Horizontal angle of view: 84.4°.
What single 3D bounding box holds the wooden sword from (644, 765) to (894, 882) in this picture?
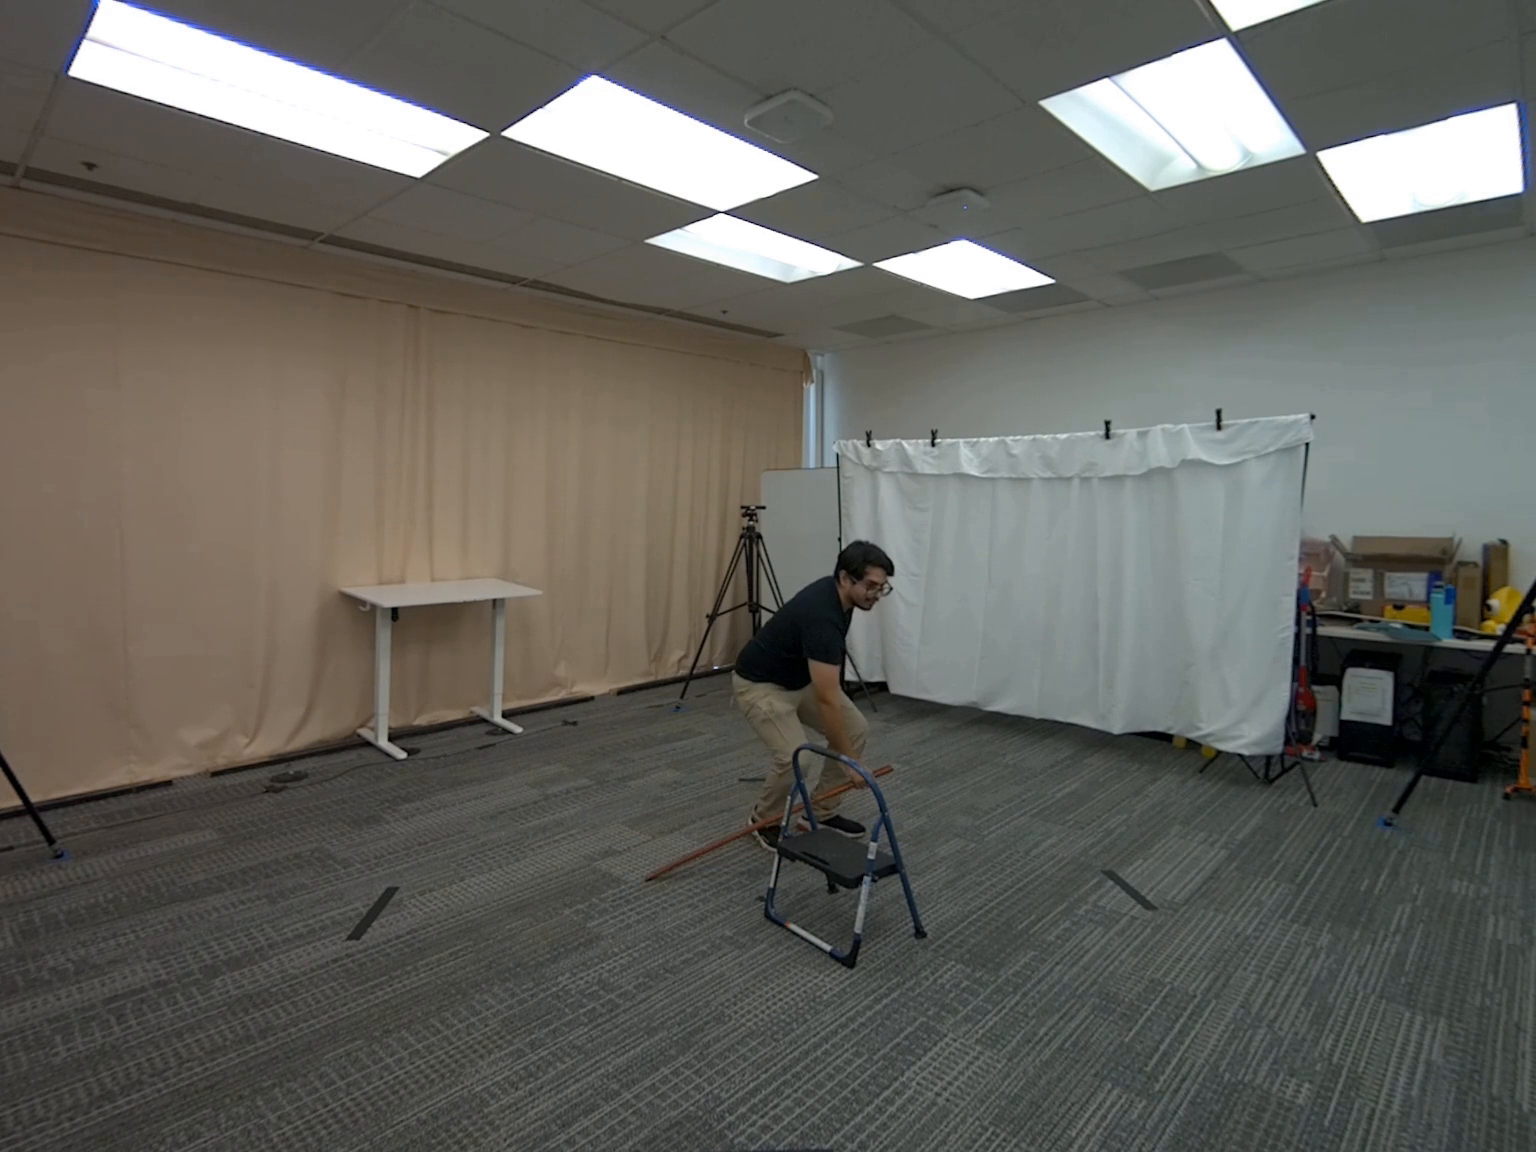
[{"bbox_3d":[-0.006,0.947,3.205,1.019,0.050,0.025,-21,24,-7],"label":"wooden sword"}]
